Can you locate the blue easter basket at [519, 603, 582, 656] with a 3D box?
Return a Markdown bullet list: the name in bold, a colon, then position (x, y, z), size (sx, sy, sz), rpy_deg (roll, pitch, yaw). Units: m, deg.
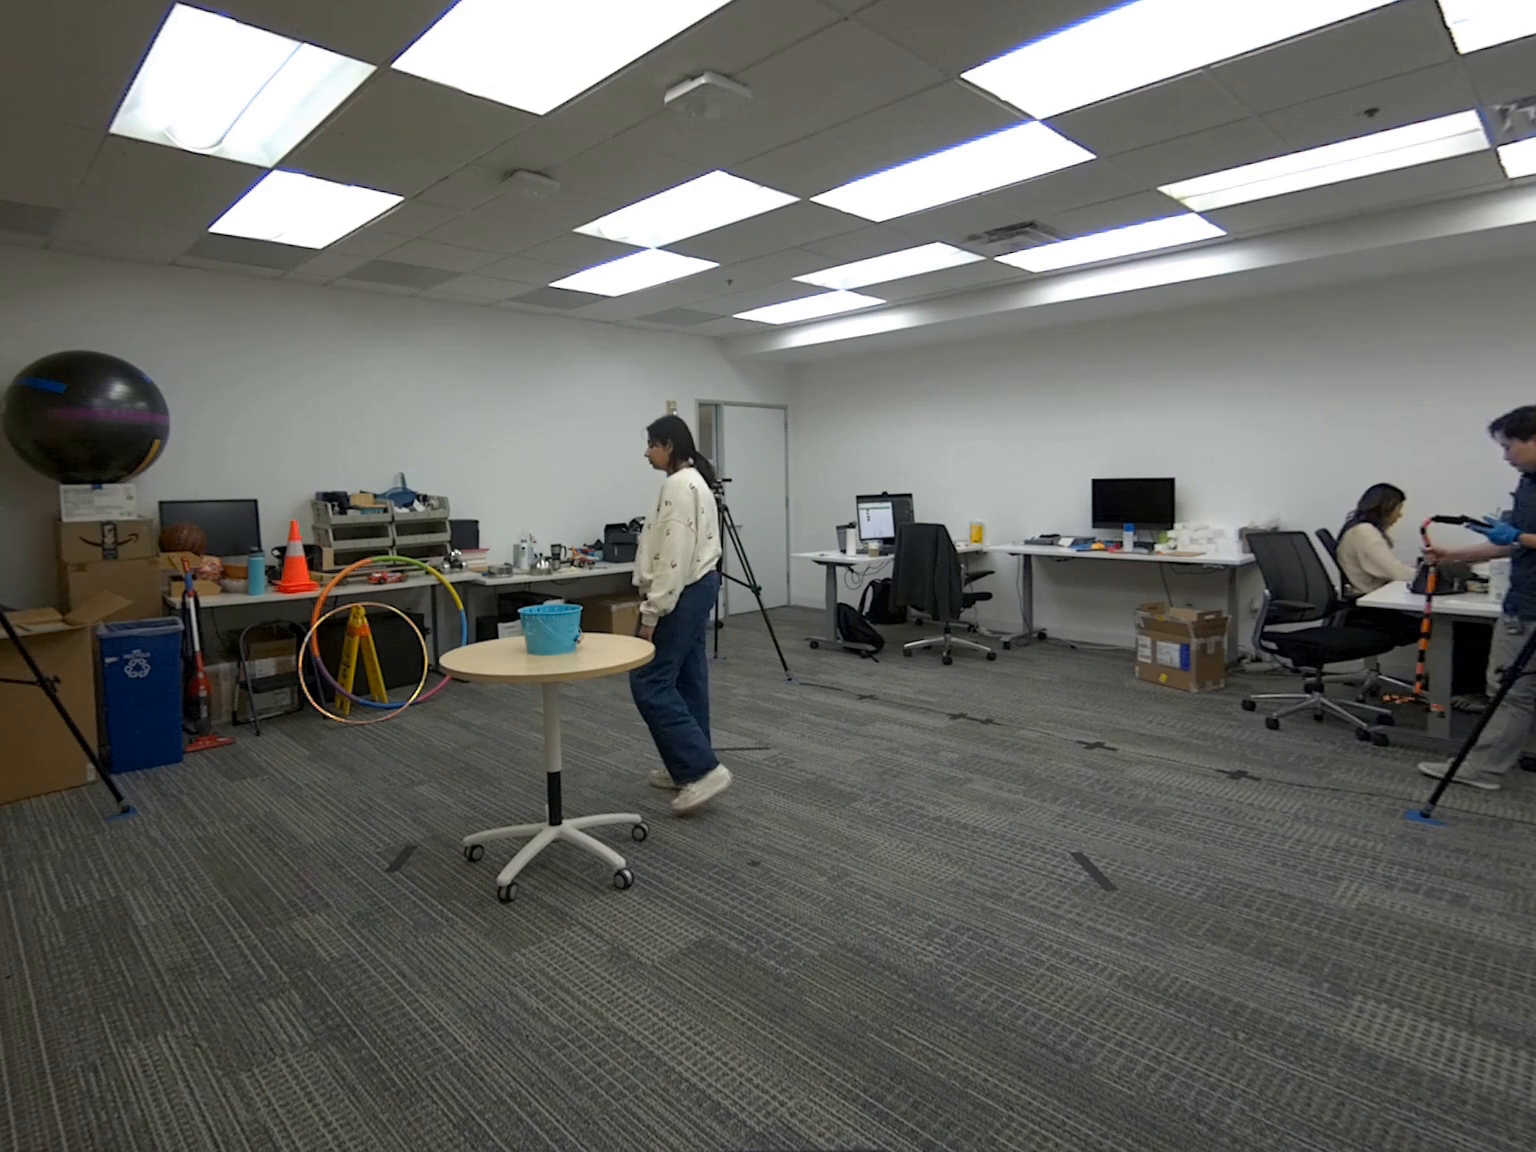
- **blue easter basket**: position (-0.805, 0.200, 3.139), size (0.243, 0.155, 0.245), rpy_deg (-3, 5, -1)
